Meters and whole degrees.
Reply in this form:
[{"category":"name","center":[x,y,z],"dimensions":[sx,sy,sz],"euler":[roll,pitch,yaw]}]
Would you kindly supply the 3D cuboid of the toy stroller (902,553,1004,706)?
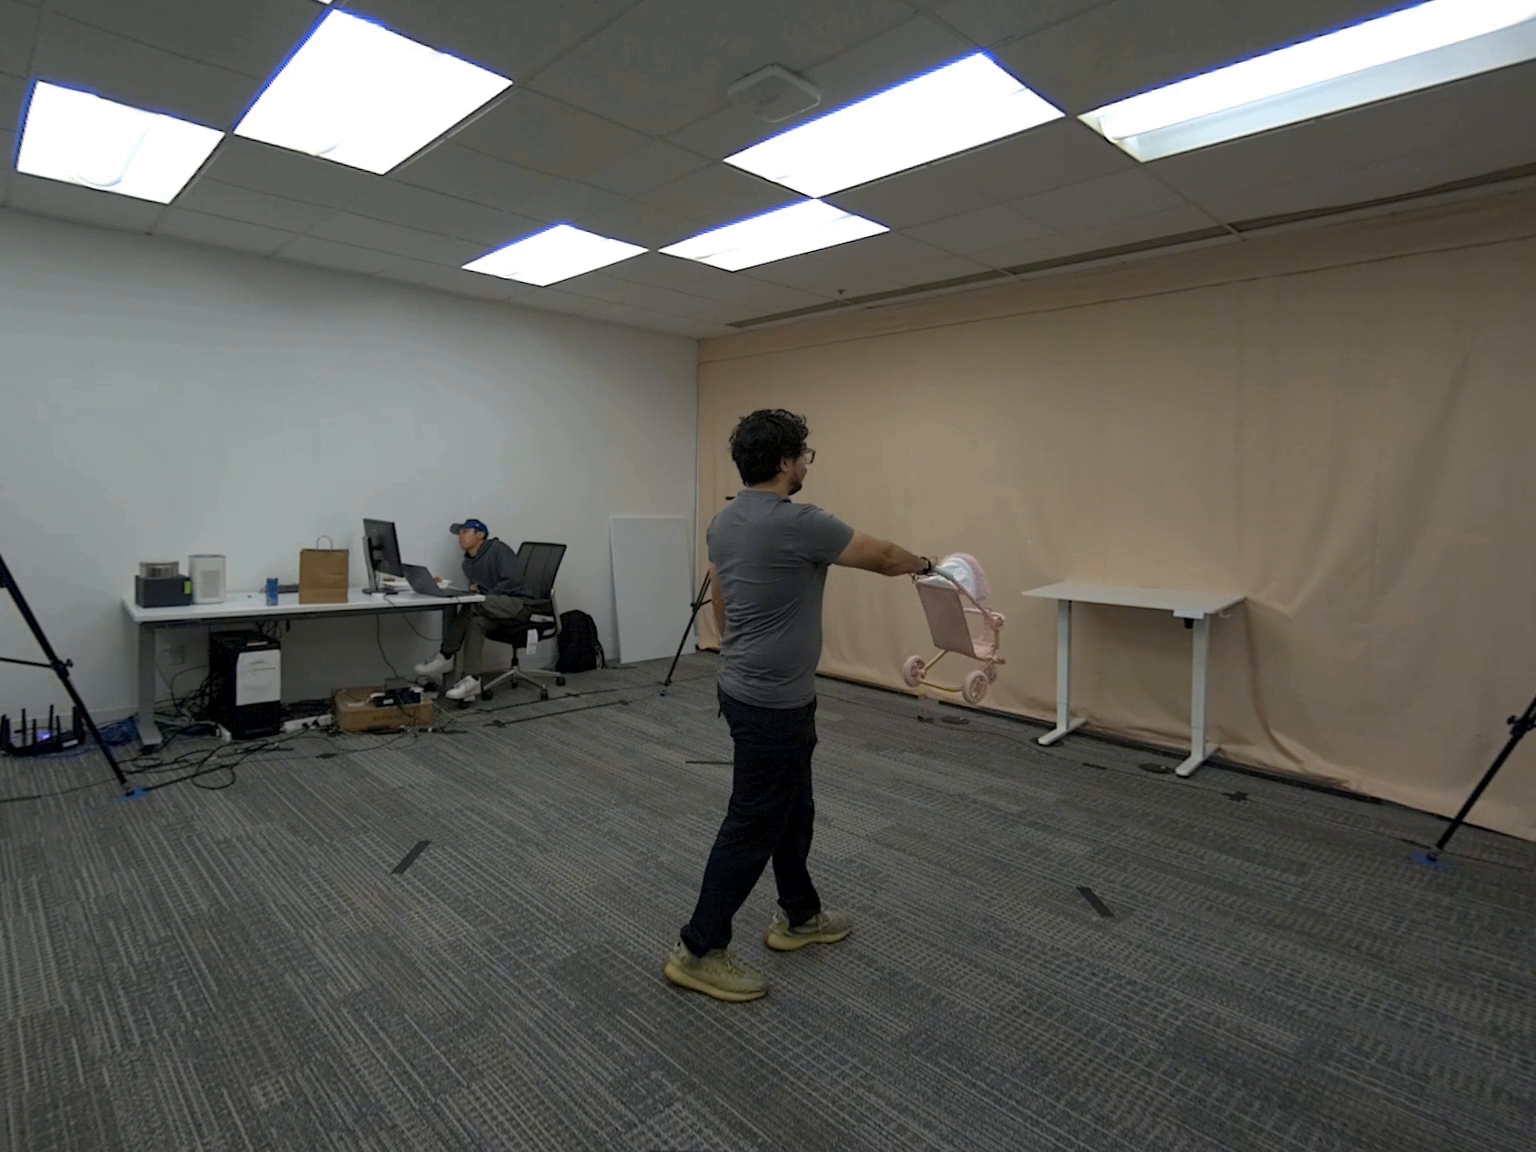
[{"category":"toy stroller","center":[0.643,0.167,2.832],"dimensions":[0.336,0.529,0.288],"euler":[-18,15,-31]}]
